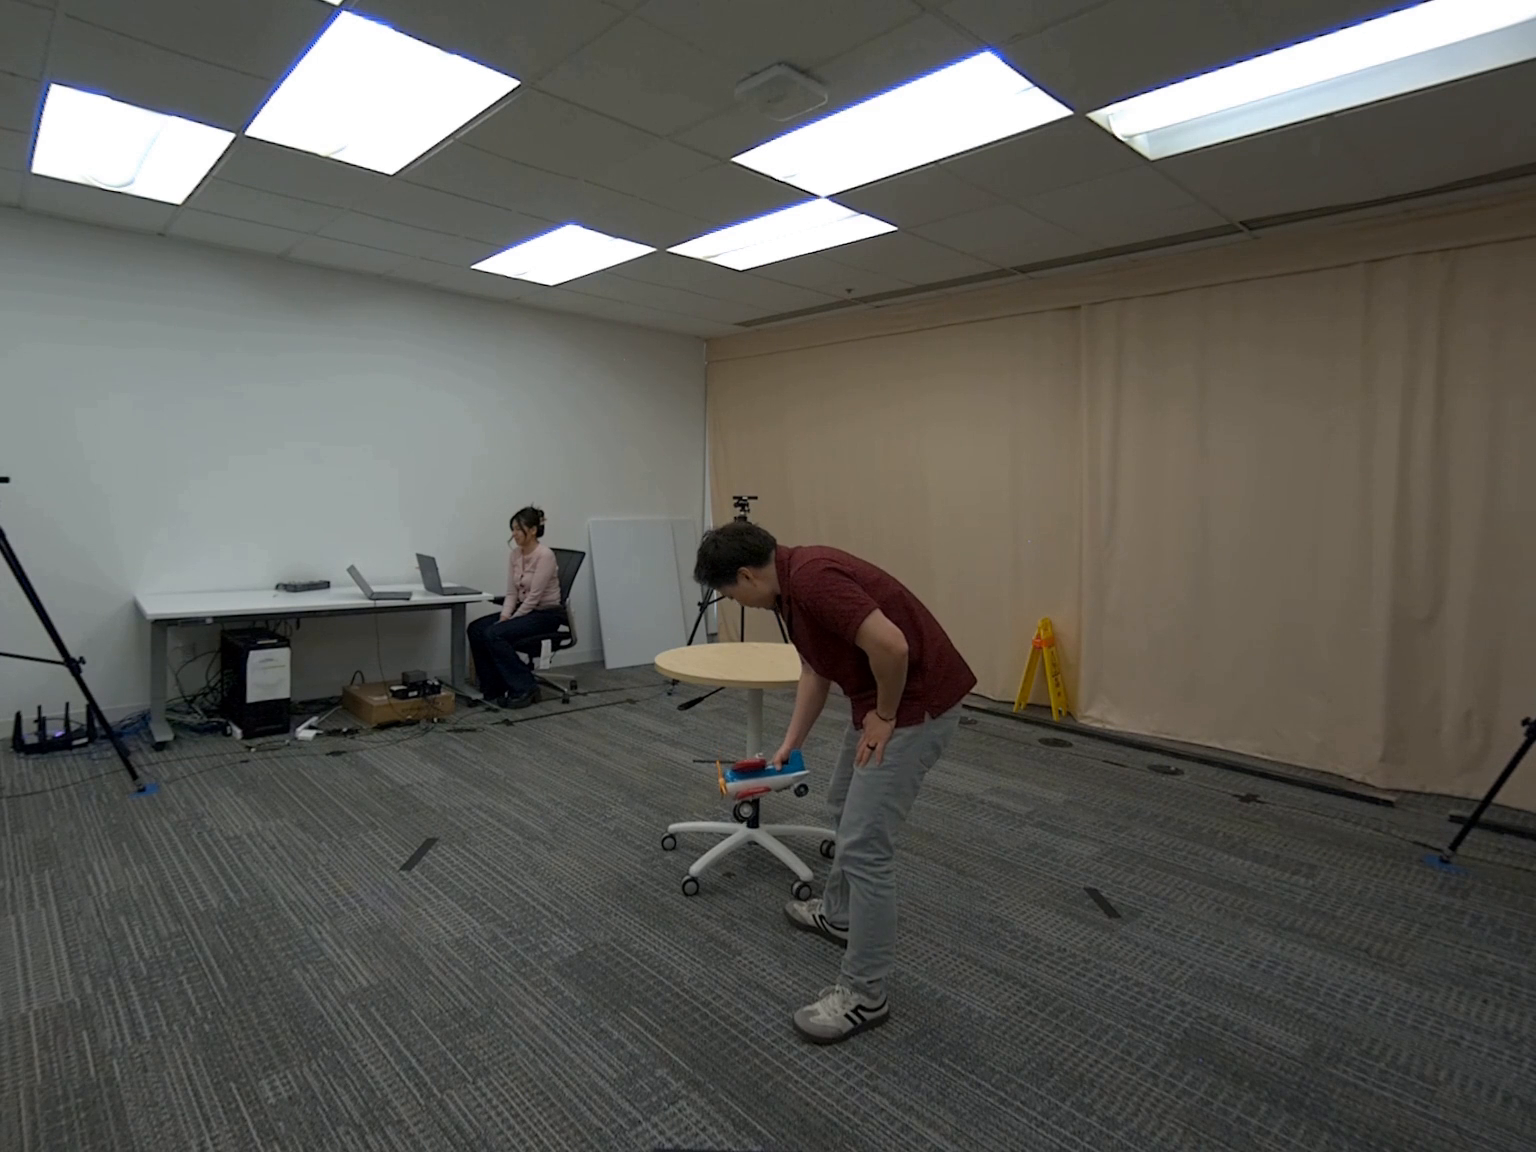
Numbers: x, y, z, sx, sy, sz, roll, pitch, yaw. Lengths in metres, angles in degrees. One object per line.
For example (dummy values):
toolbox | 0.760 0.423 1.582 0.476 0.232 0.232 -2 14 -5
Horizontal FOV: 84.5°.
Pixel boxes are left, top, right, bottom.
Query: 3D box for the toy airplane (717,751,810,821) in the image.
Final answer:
toy airplane | -0.018 0.601 2.417 0.254 0.159 0.252 -9 -21 -41
